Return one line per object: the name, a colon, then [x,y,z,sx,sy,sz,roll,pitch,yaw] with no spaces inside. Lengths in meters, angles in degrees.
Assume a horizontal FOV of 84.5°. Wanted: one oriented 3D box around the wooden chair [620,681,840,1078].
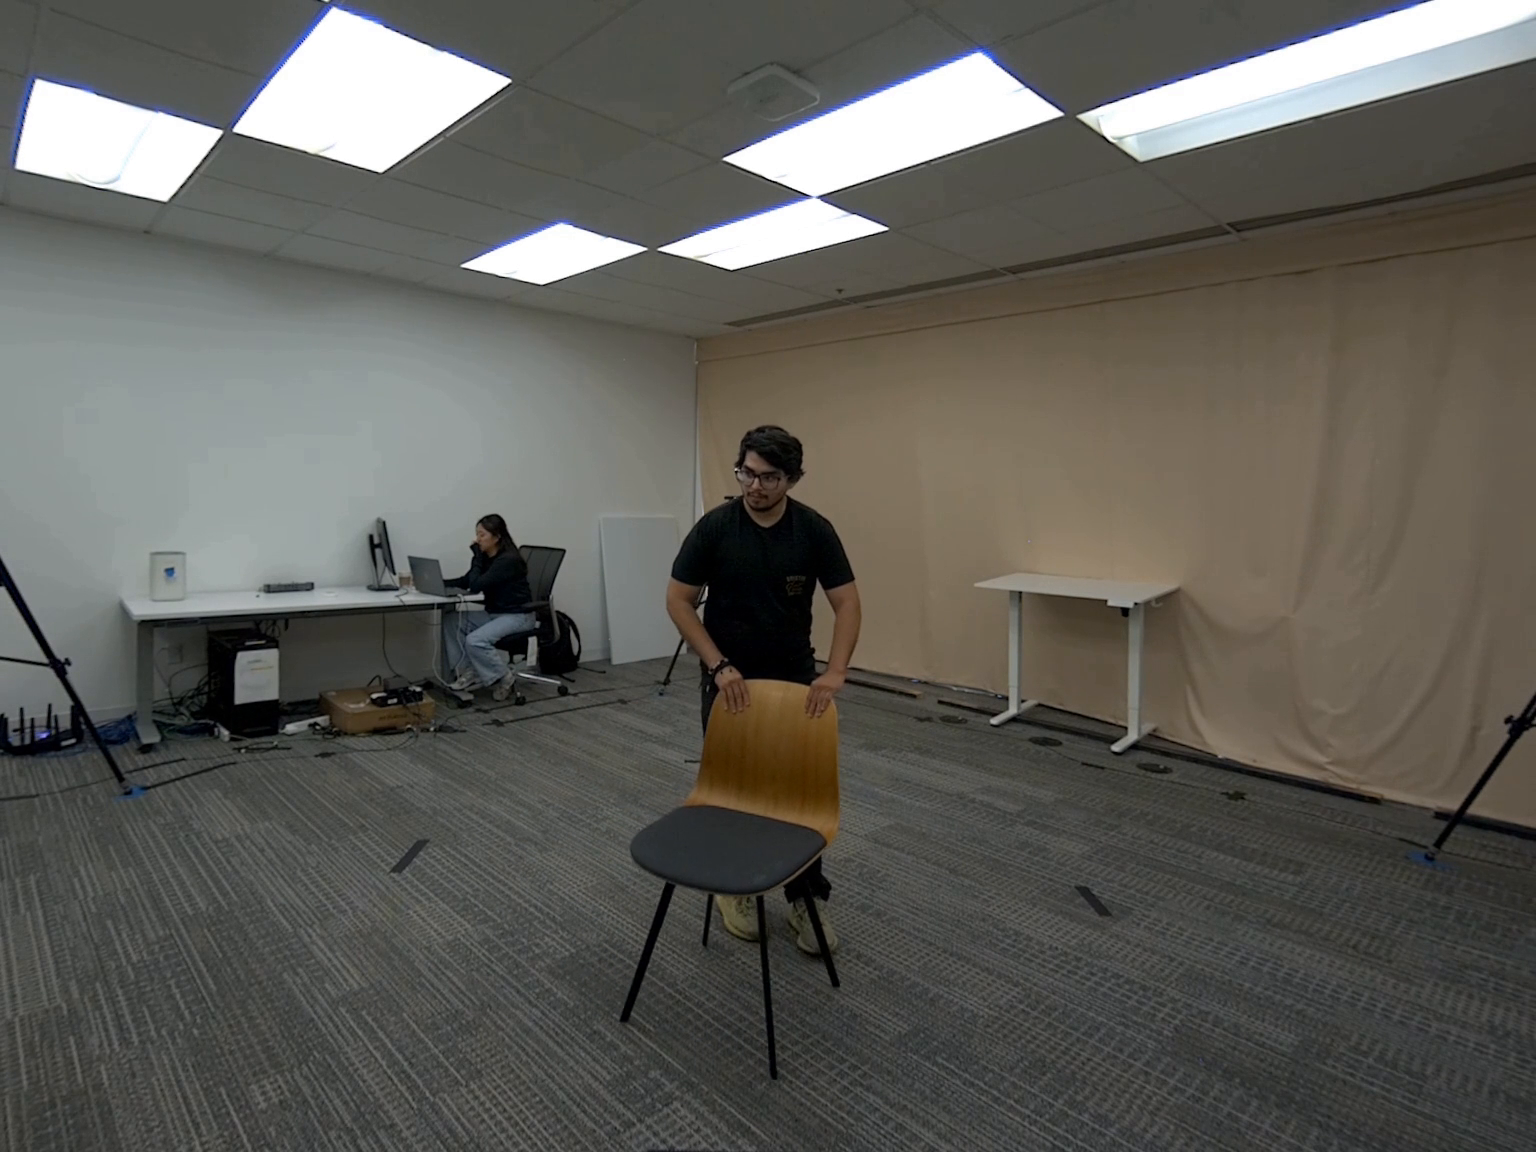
wooden chair: [-0.082,0.754,2.276,0.488,0.877,0.513,4,0,26]
